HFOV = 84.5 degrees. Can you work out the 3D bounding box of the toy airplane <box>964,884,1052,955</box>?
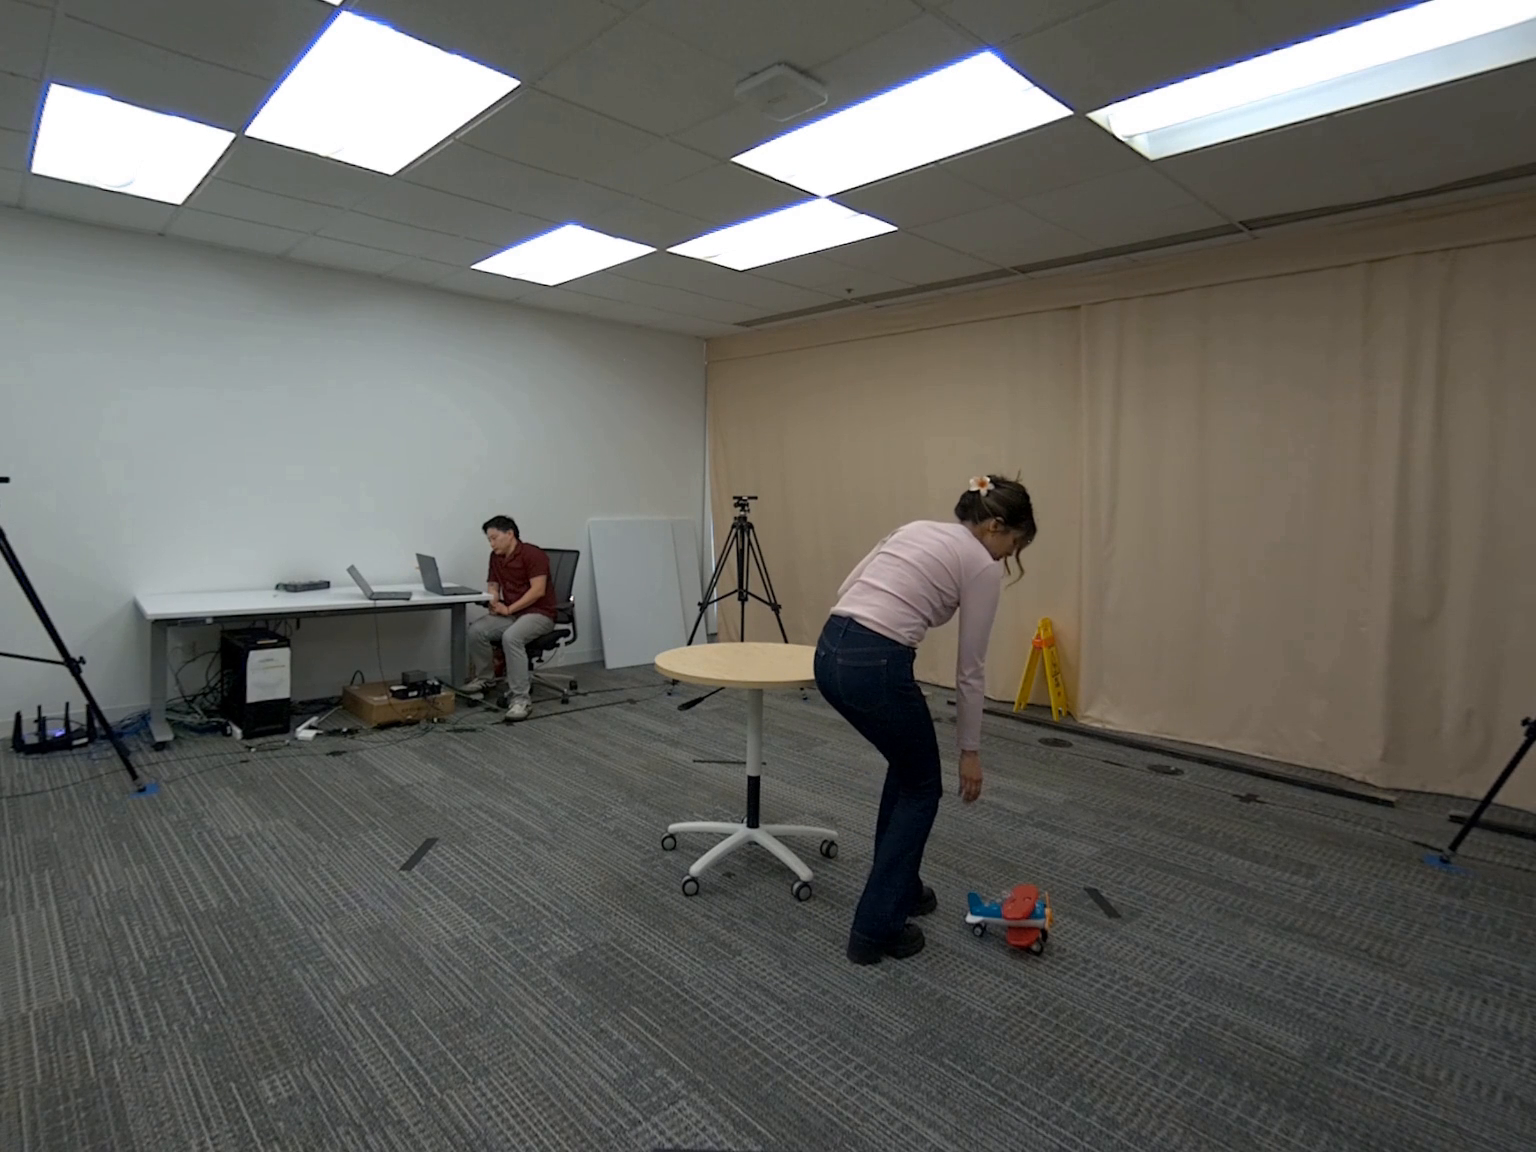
[{"bbox_3d":[0.754,1.090,2.665,0.259,0.156,0.252,2,5,-1],"label":"toy airplane"}]
